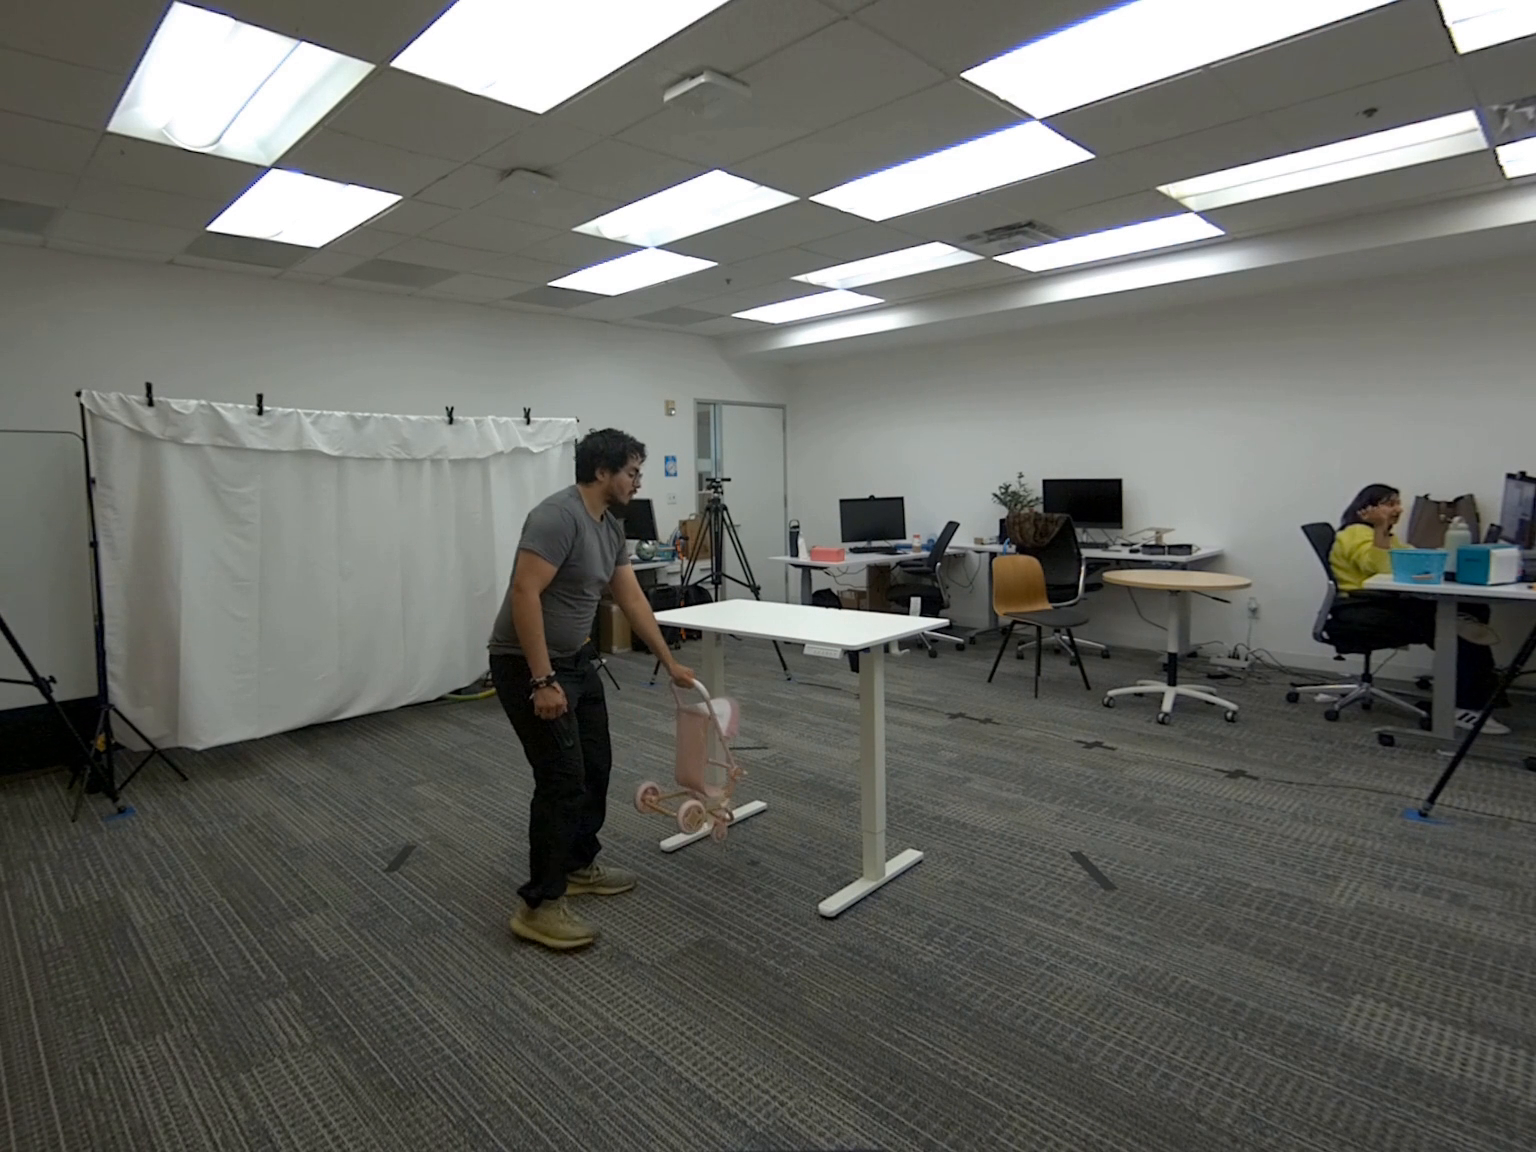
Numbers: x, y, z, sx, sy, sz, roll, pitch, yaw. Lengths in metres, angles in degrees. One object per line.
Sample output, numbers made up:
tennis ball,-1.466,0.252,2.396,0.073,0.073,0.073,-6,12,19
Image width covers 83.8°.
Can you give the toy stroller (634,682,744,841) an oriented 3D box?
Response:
toy stroller,-0.225,0.643,2.931,0.330,0.538,0.289,16,-10,-36
